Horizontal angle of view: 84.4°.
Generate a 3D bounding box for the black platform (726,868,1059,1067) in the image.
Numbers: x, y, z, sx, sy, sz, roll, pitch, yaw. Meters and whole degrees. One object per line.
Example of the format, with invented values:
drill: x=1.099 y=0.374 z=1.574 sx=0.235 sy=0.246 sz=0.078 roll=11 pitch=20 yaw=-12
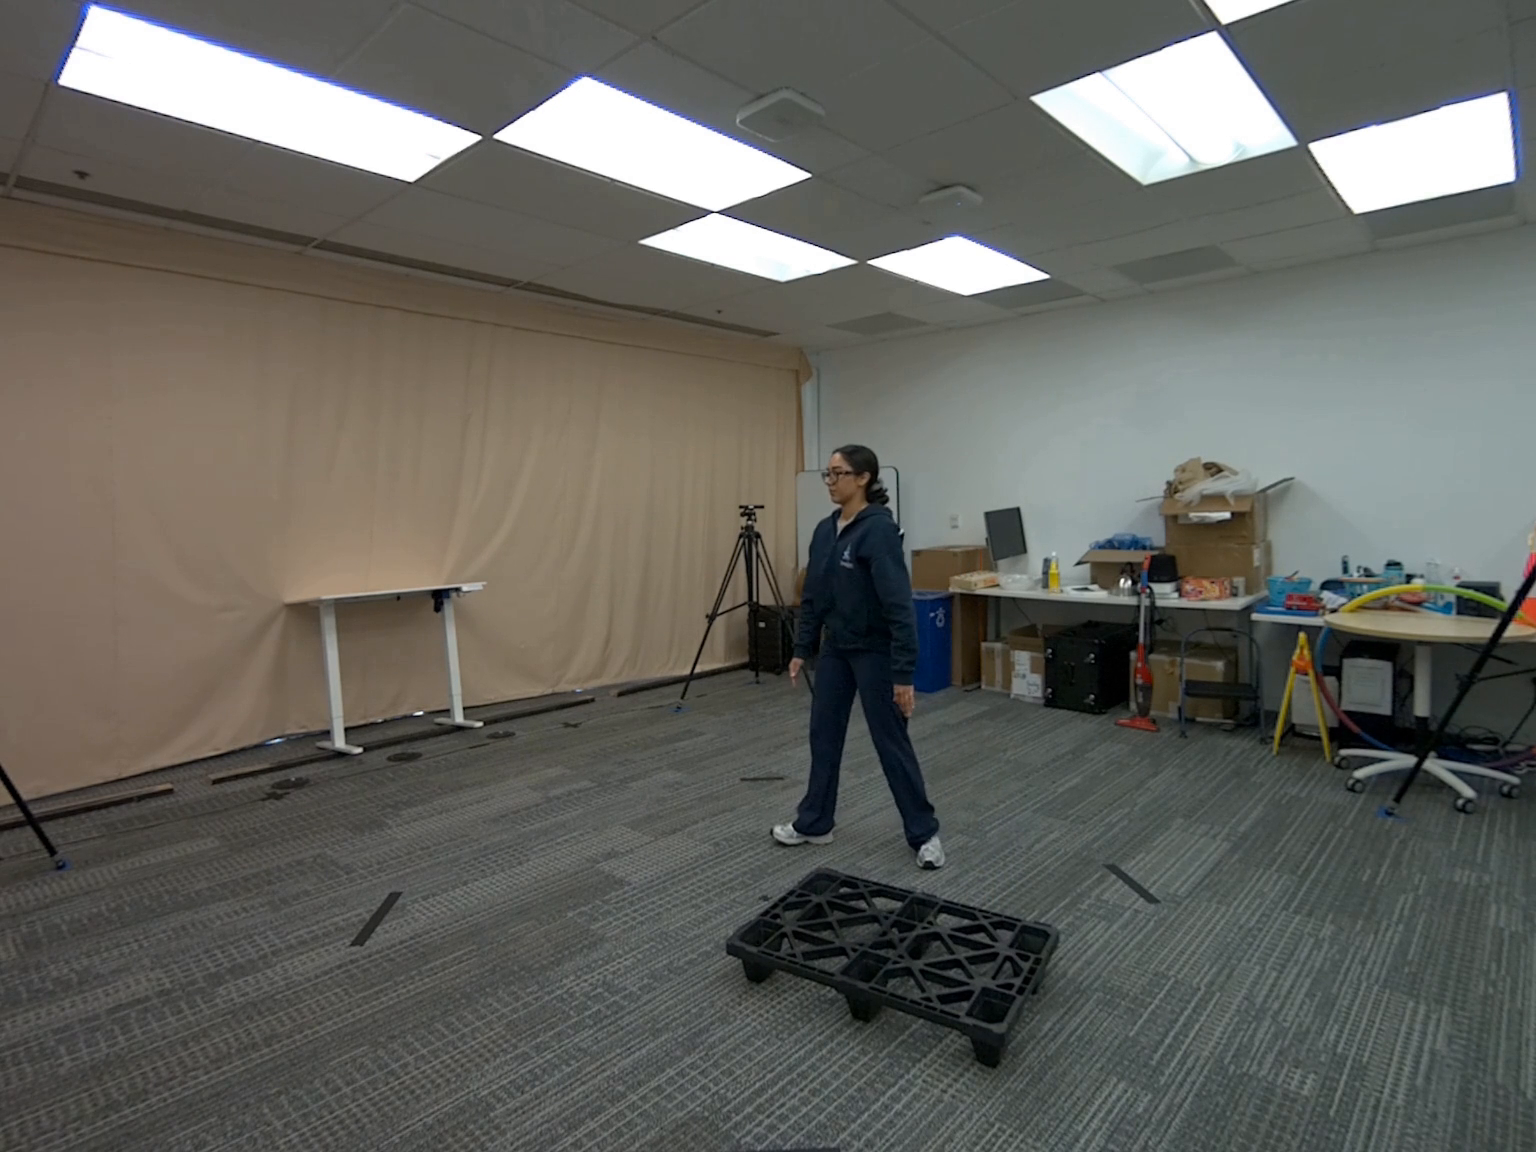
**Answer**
black platform: x=0.367 y=1.113 z=2.462 sx=0.830 sy=0.143 sz=0.588 roll=3 pitch=6 yaw=33
